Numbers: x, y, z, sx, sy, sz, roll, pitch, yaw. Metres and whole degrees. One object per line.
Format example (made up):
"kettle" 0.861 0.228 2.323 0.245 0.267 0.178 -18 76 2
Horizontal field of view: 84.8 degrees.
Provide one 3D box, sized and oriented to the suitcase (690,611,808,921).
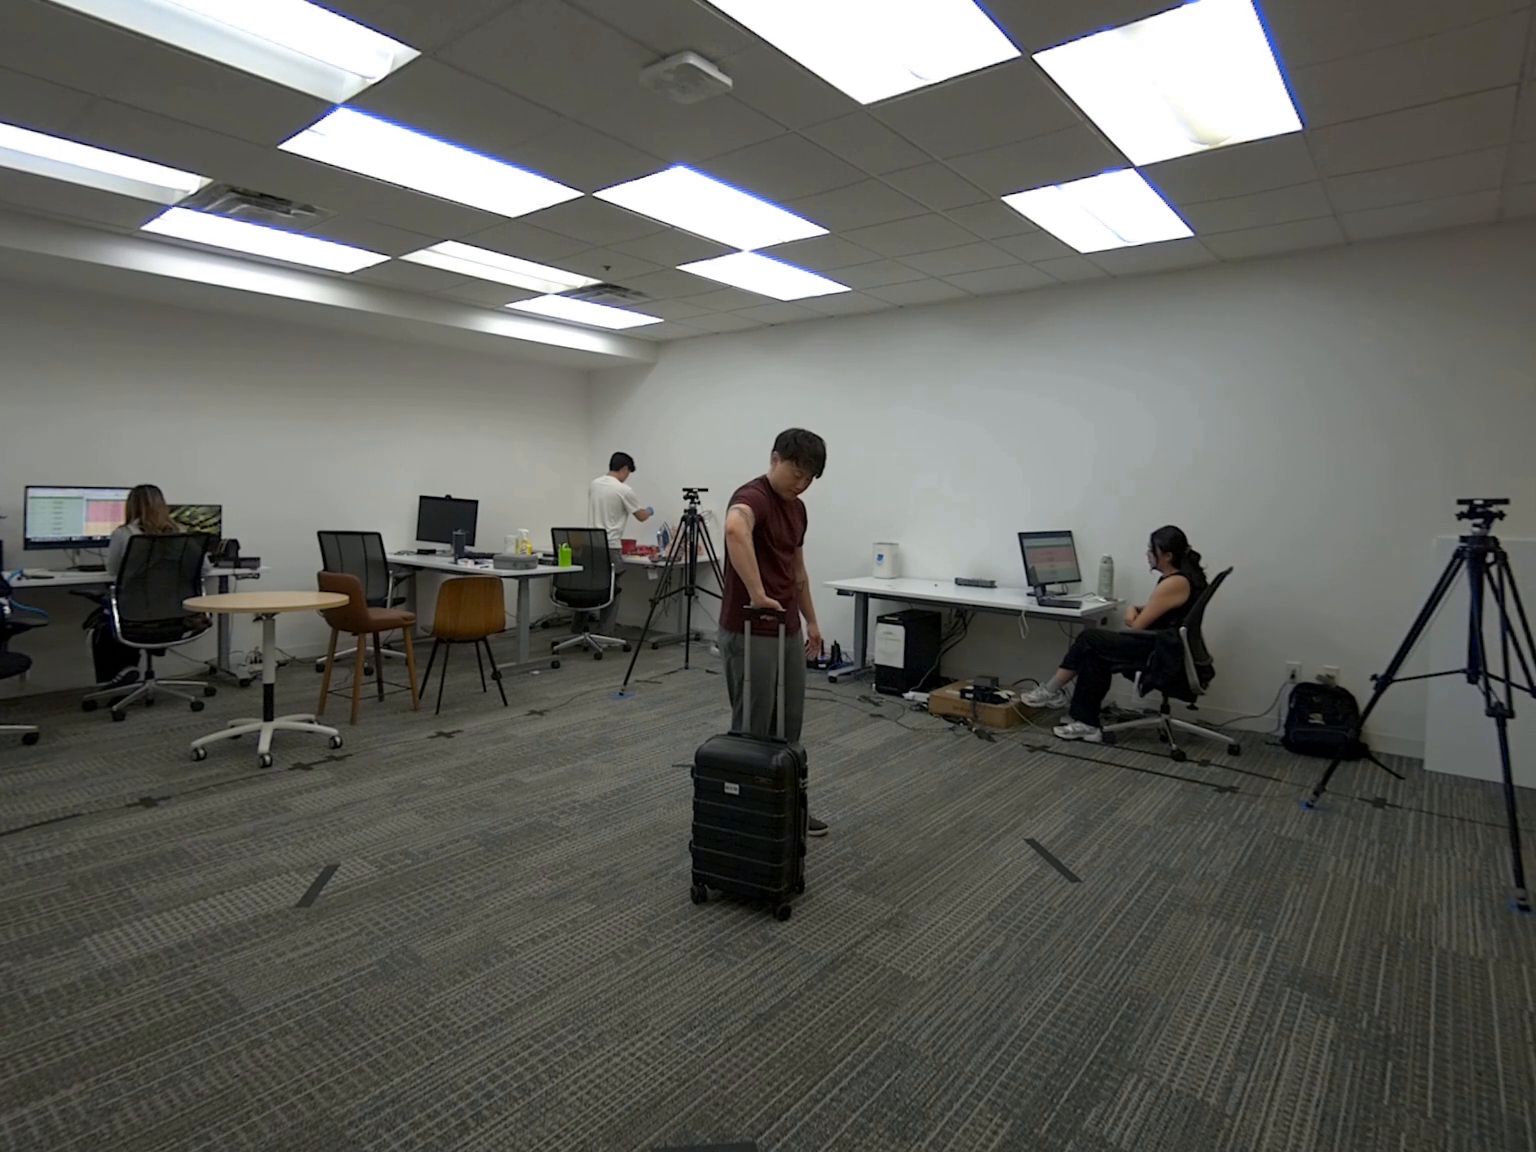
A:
"suitcase" -0.063 0.619 2.878 0.395 0.974 0.251 5 6 27
